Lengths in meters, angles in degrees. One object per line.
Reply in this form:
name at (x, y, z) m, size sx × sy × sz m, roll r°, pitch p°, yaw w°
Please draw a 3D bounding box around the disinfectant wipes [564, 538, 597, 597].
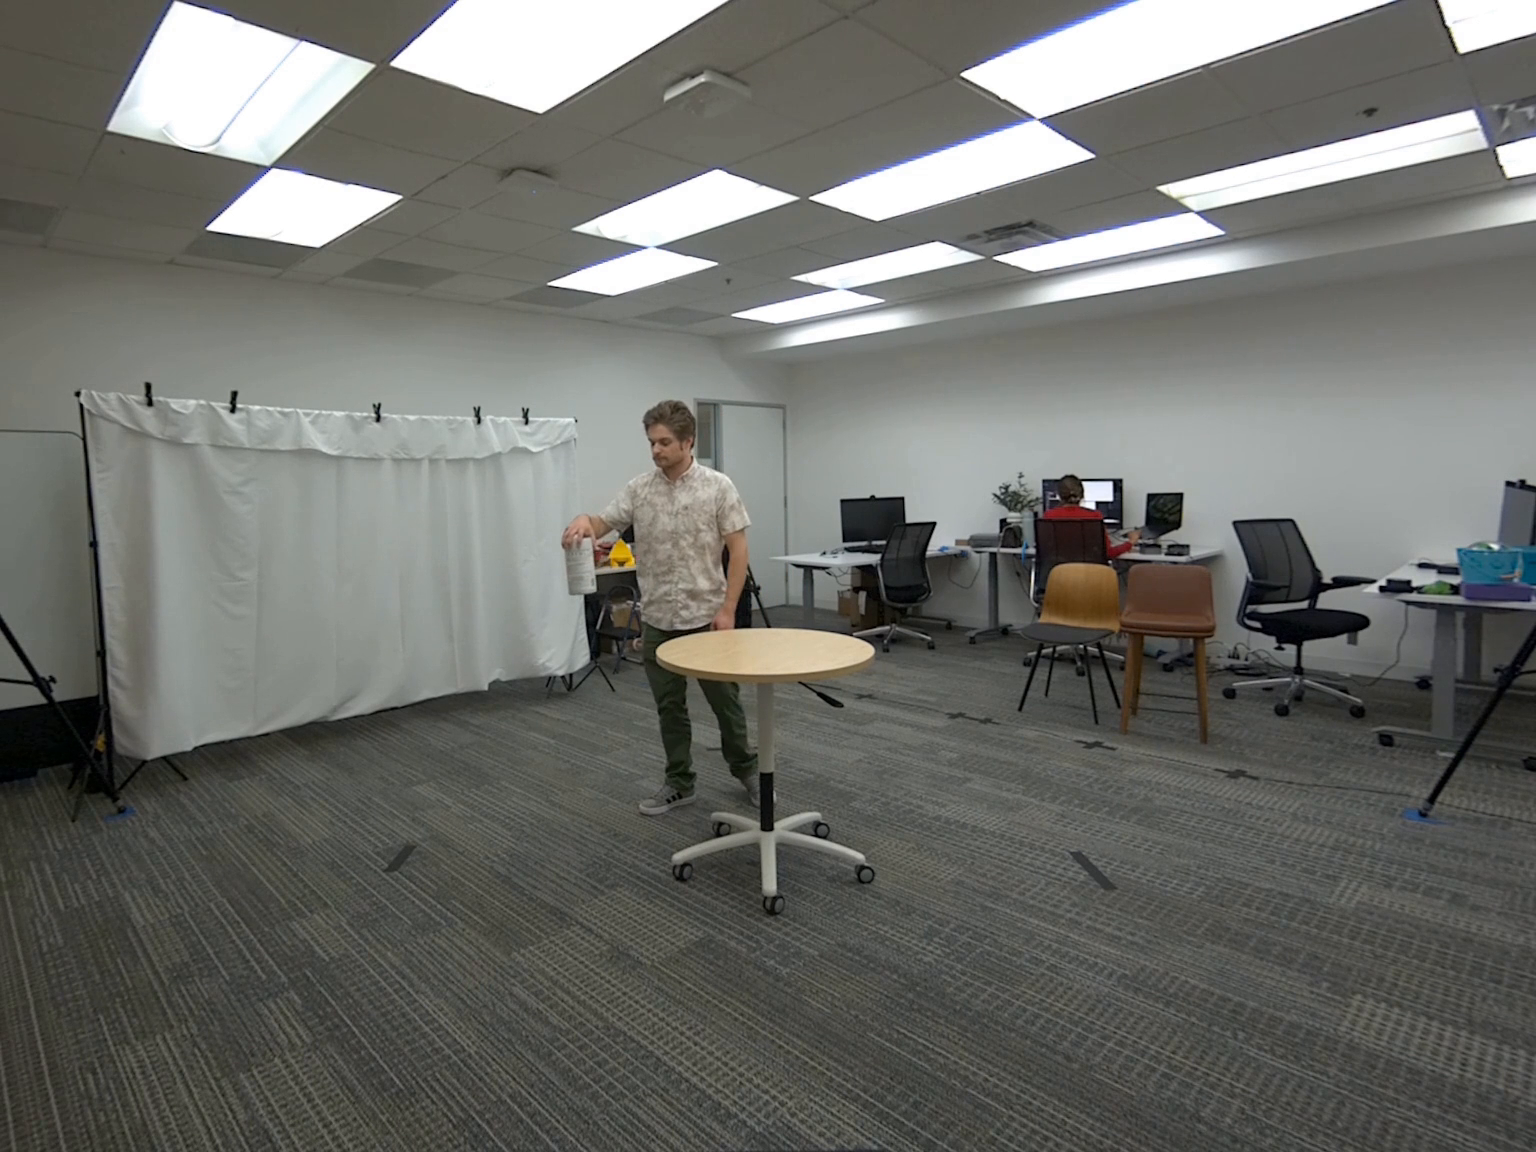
disinfectant wipes at (-0.727, -0.038, 3.328) m, size 0.118 × 0.217 × 0.118 m, roll -3°, pitch 4°, yaw -1°
